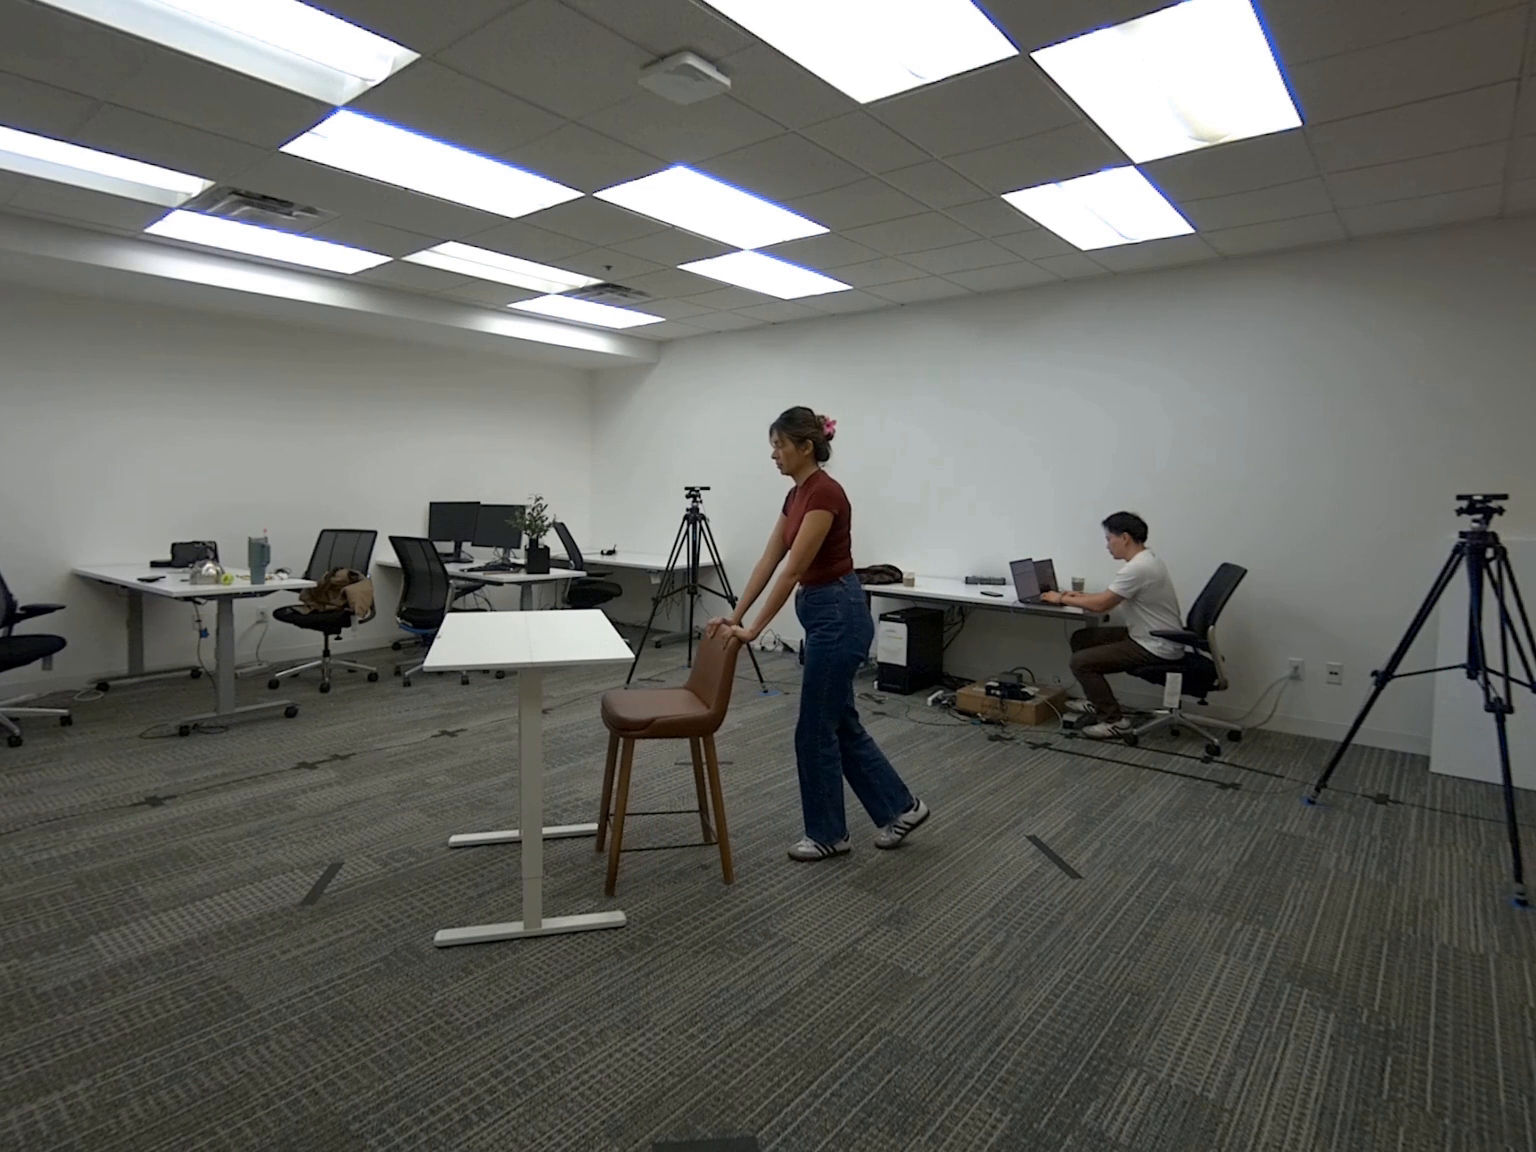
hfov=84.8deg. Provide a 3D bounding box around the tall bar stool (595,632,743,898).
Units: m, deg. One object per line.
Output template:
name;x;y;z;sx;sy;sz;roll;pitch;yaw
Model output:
tall bar stool;-0.376;0.625;3.096;0.460;0.888;0.465;3;3;-15
